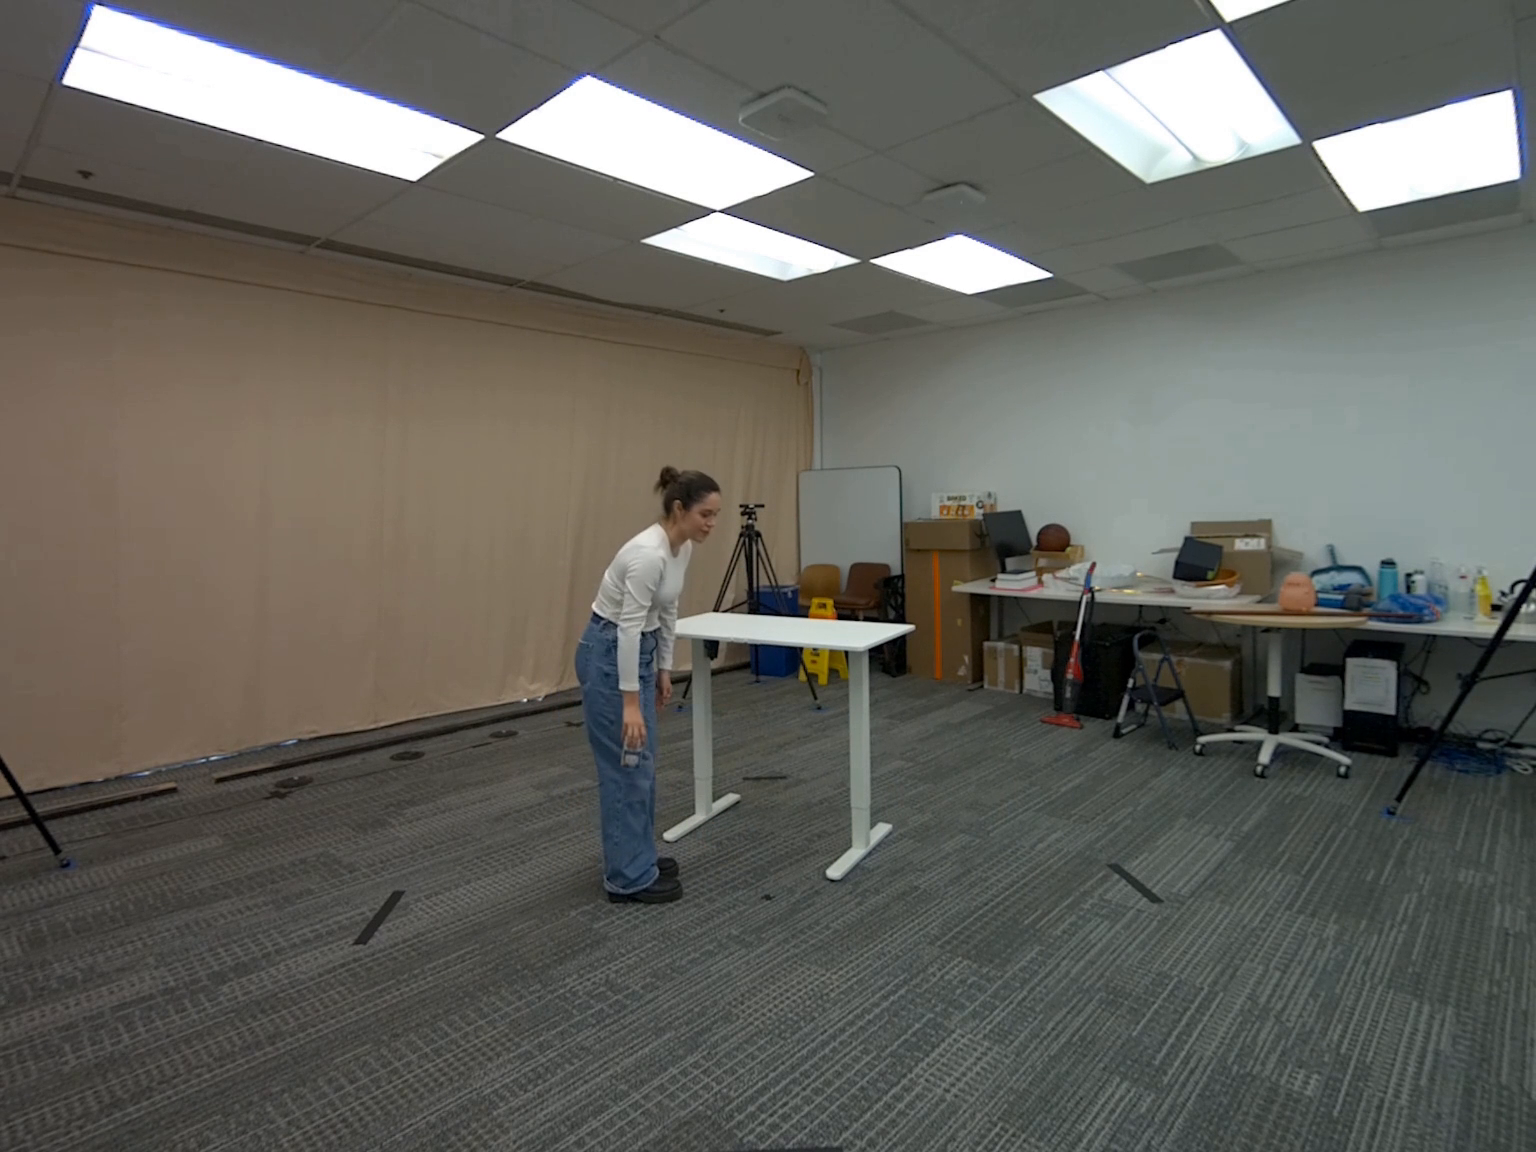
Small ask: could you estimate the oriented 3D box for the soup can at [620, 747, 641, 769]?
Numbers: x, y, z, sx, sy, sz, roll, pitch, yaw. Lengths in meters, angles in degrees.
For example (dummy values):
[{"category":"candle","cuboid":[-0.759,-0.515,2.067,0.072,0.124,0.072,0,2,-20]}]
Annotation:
[{"category":"soup can","cuboid":[-0.448,0.597,2.849,0.067,0.121,0.067,12,7,-3]}]
